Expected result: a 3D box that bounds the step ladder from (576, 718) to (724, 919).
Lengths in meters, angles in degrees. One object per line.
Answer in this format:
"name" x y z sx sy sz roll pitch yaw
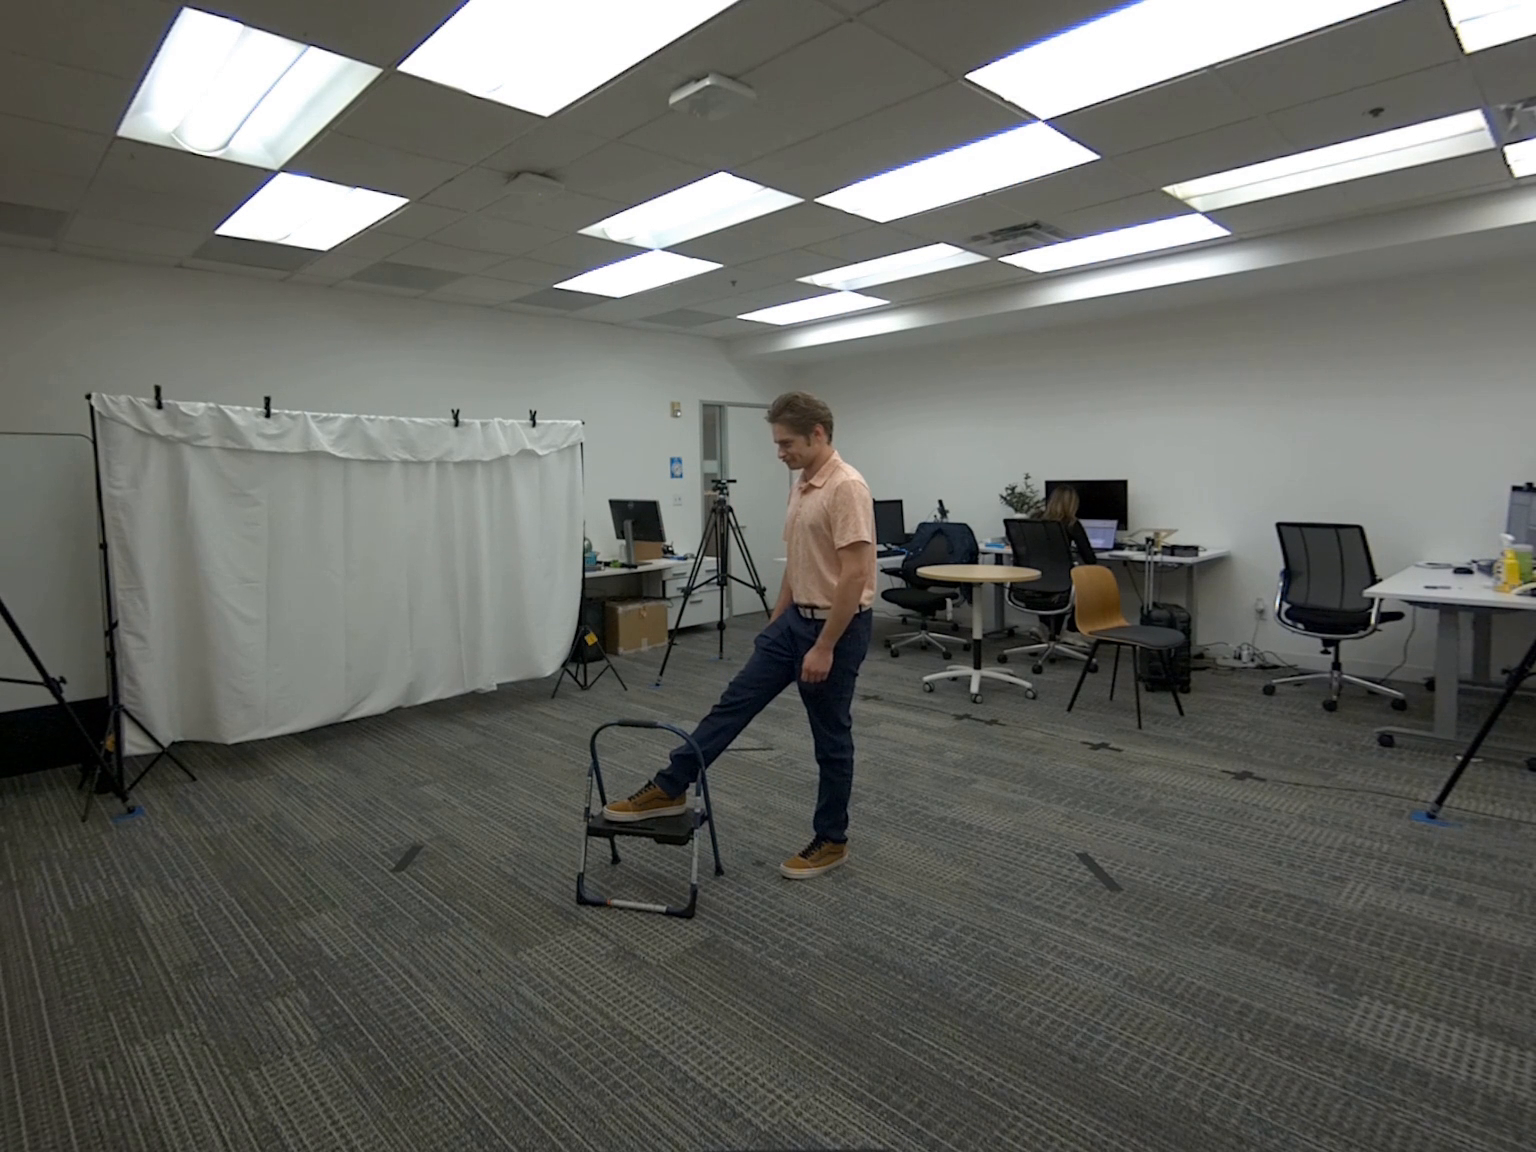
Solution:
"step ladder" -0.405 0.776 2.918 0.437 0.604 0.346 0 5 14
